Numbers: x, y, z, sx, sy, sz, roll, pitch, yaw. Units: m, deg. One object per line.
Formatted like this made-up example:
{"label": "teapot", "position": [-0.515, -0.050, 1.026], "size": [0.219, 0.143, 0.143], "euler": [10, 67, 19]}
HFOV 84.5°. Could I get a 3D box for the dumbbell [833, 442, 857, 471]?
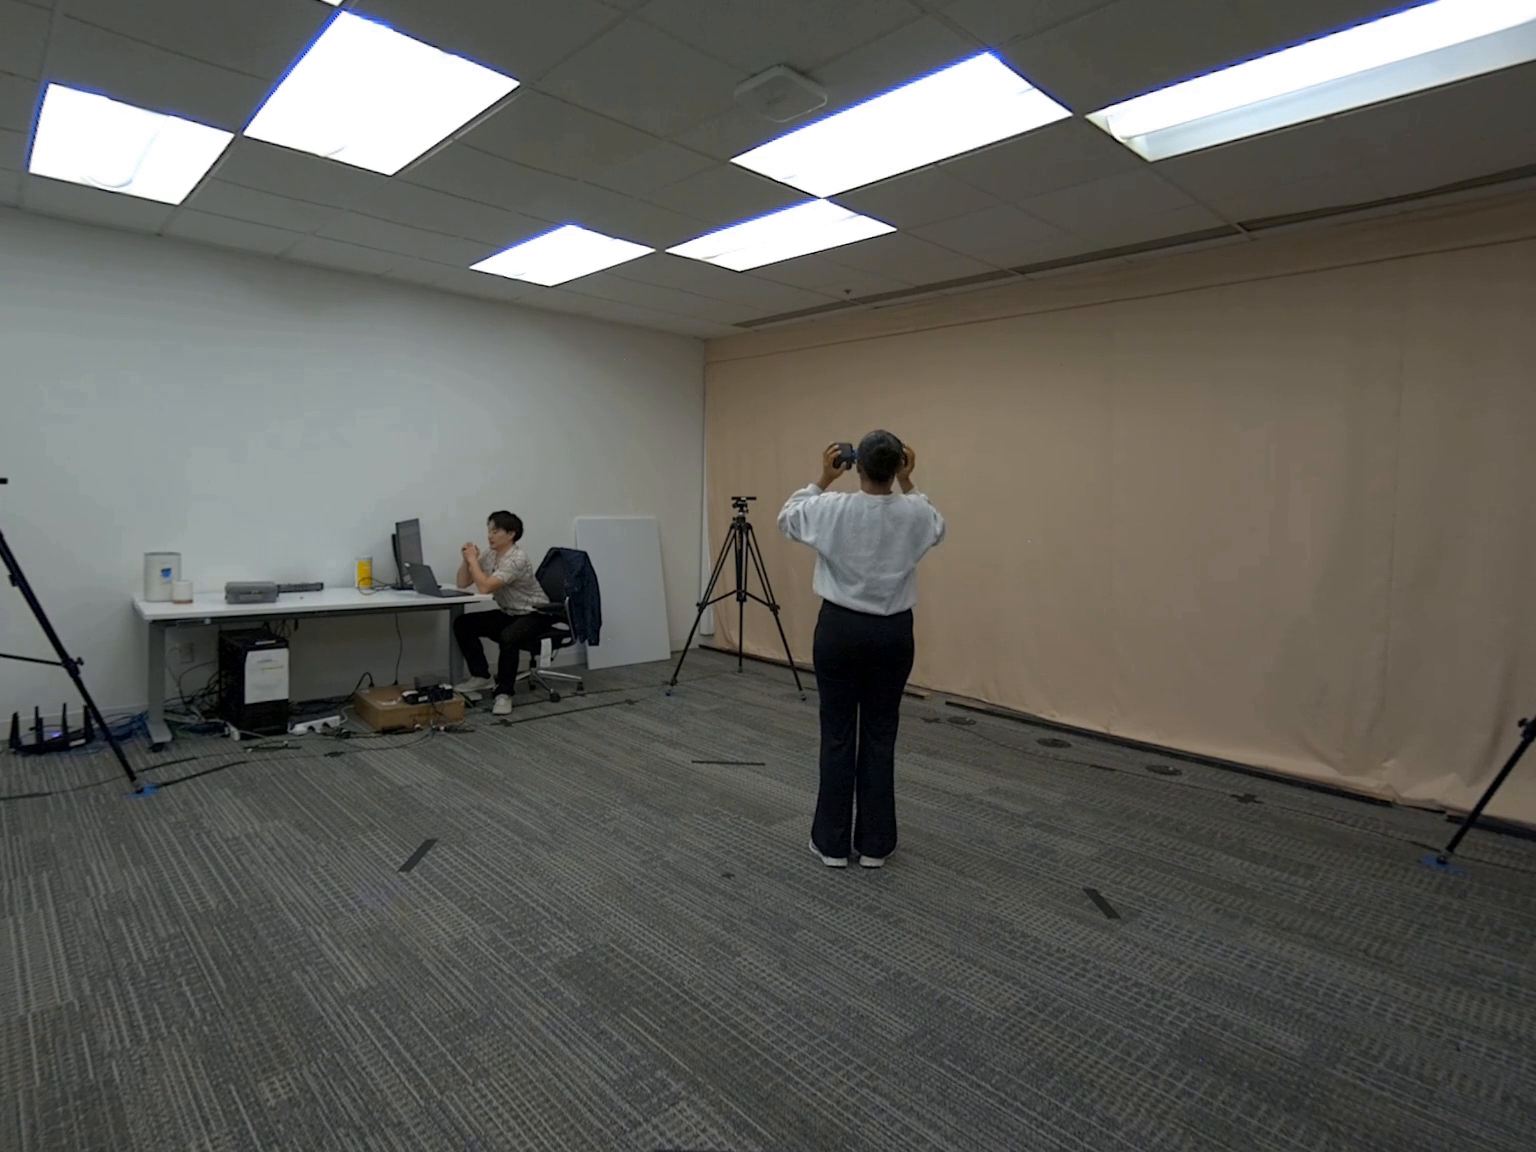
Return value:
{"label": "dumbbell", "position": [0.387, -0.468, 3.287], "size": [0.293, 0.125, 0.107], "euler": [2, -31, -3]}
